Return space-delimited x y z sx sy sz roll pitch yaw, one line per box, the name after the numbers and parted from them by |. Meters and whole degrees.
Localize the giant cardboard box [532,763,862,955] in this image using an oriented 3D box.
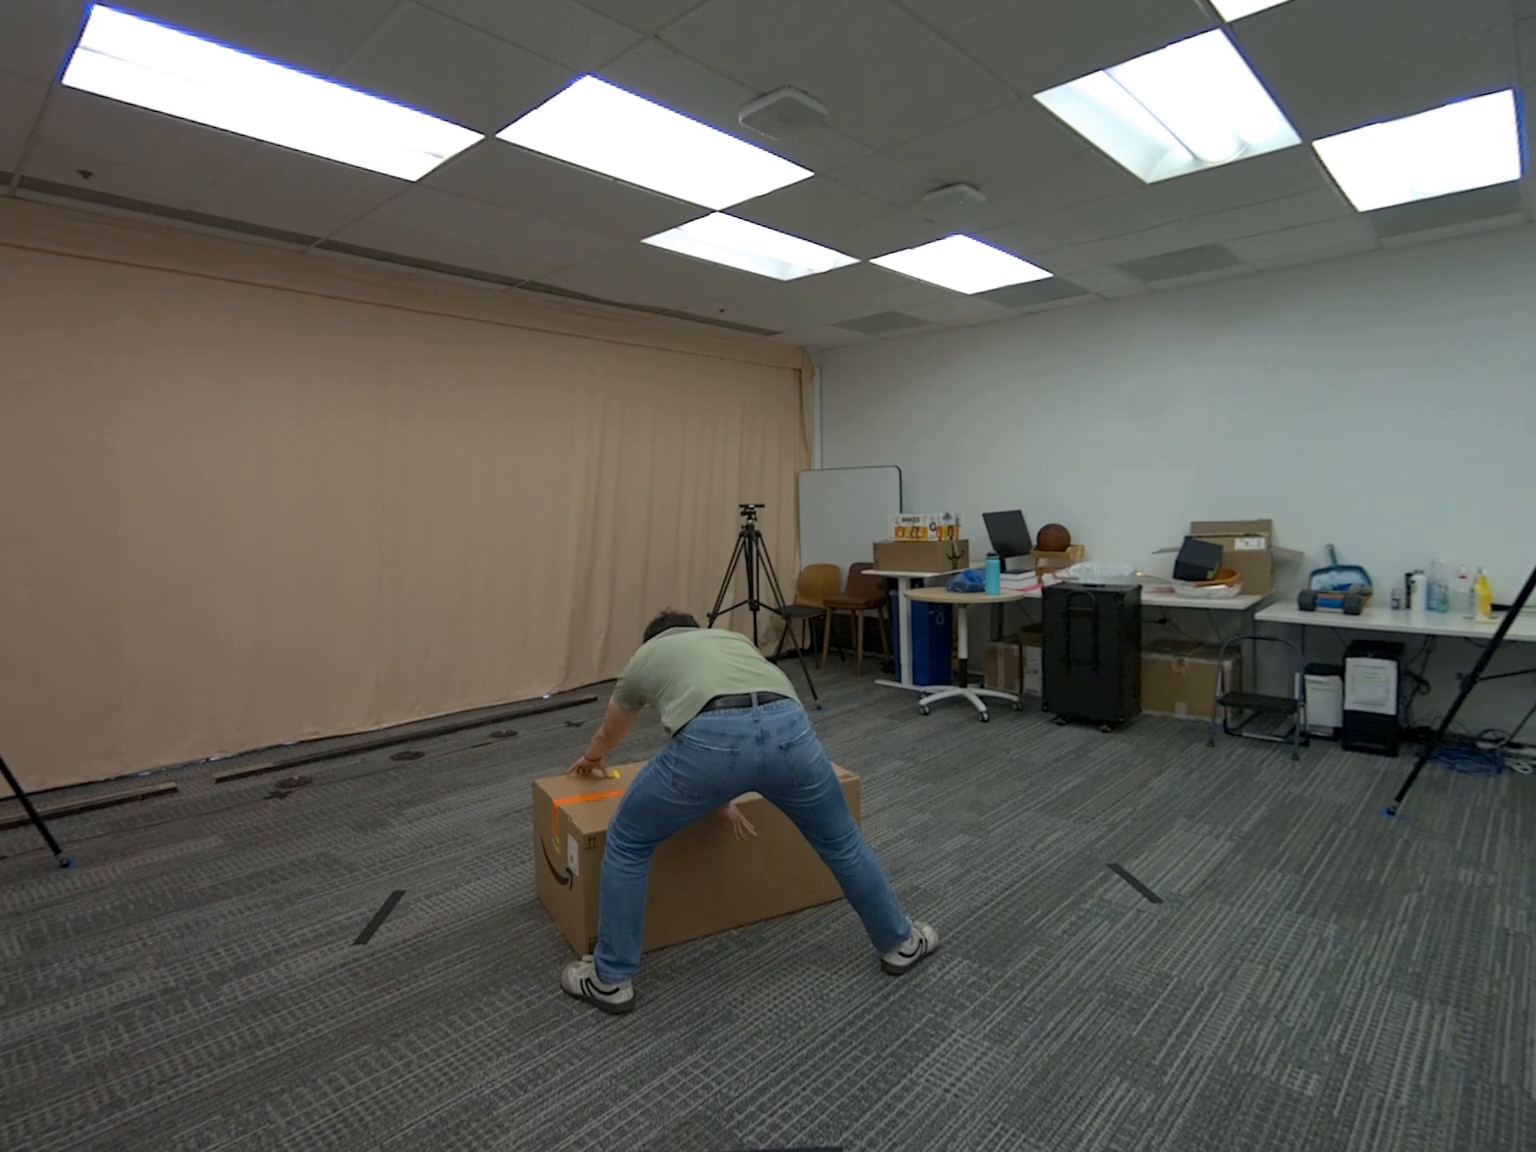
-0.254 0.928 3.008 1.000 0.425 0.593 -4 5 -28 | giant cardboard box
